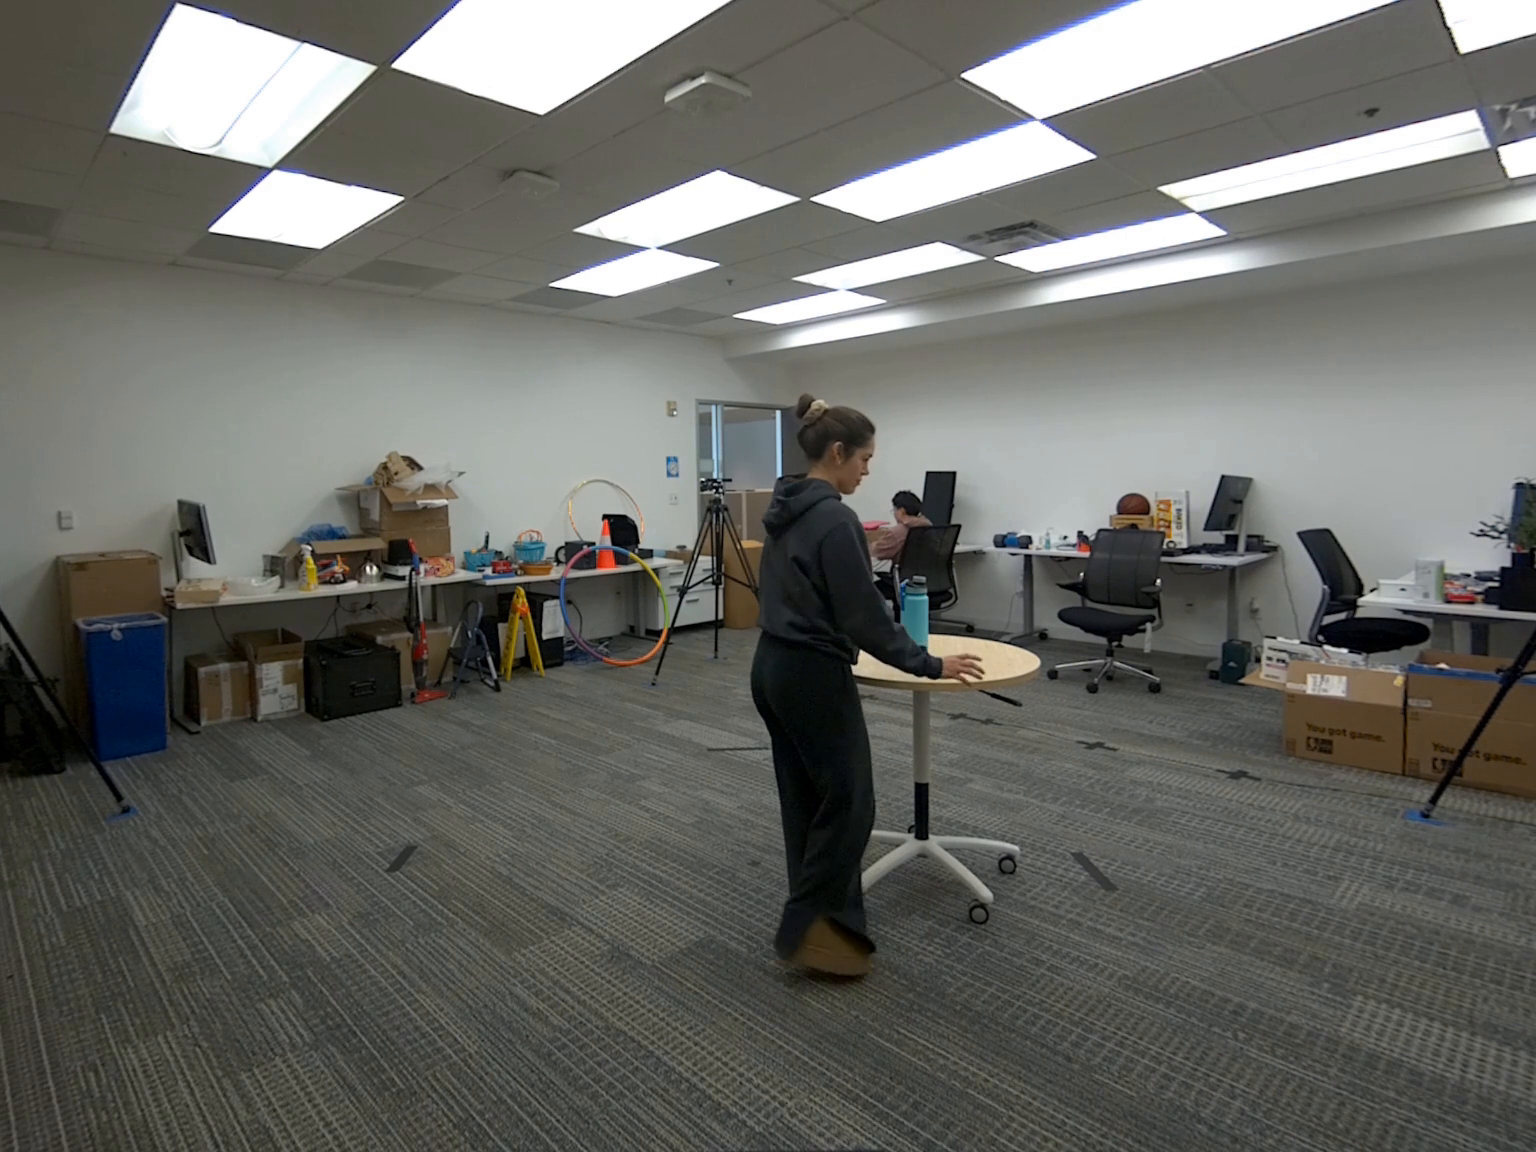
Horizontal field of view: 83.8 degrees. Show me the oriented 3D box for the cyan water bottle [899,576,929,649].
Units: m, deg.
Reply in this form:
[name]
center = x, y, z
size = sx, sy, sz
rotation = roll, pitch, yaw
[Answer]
[cyan water bottle]
center = 0.486, 0.149, 2.794
size = 0.092, 0.282, 0.093
rotation = -2, 4, -2
